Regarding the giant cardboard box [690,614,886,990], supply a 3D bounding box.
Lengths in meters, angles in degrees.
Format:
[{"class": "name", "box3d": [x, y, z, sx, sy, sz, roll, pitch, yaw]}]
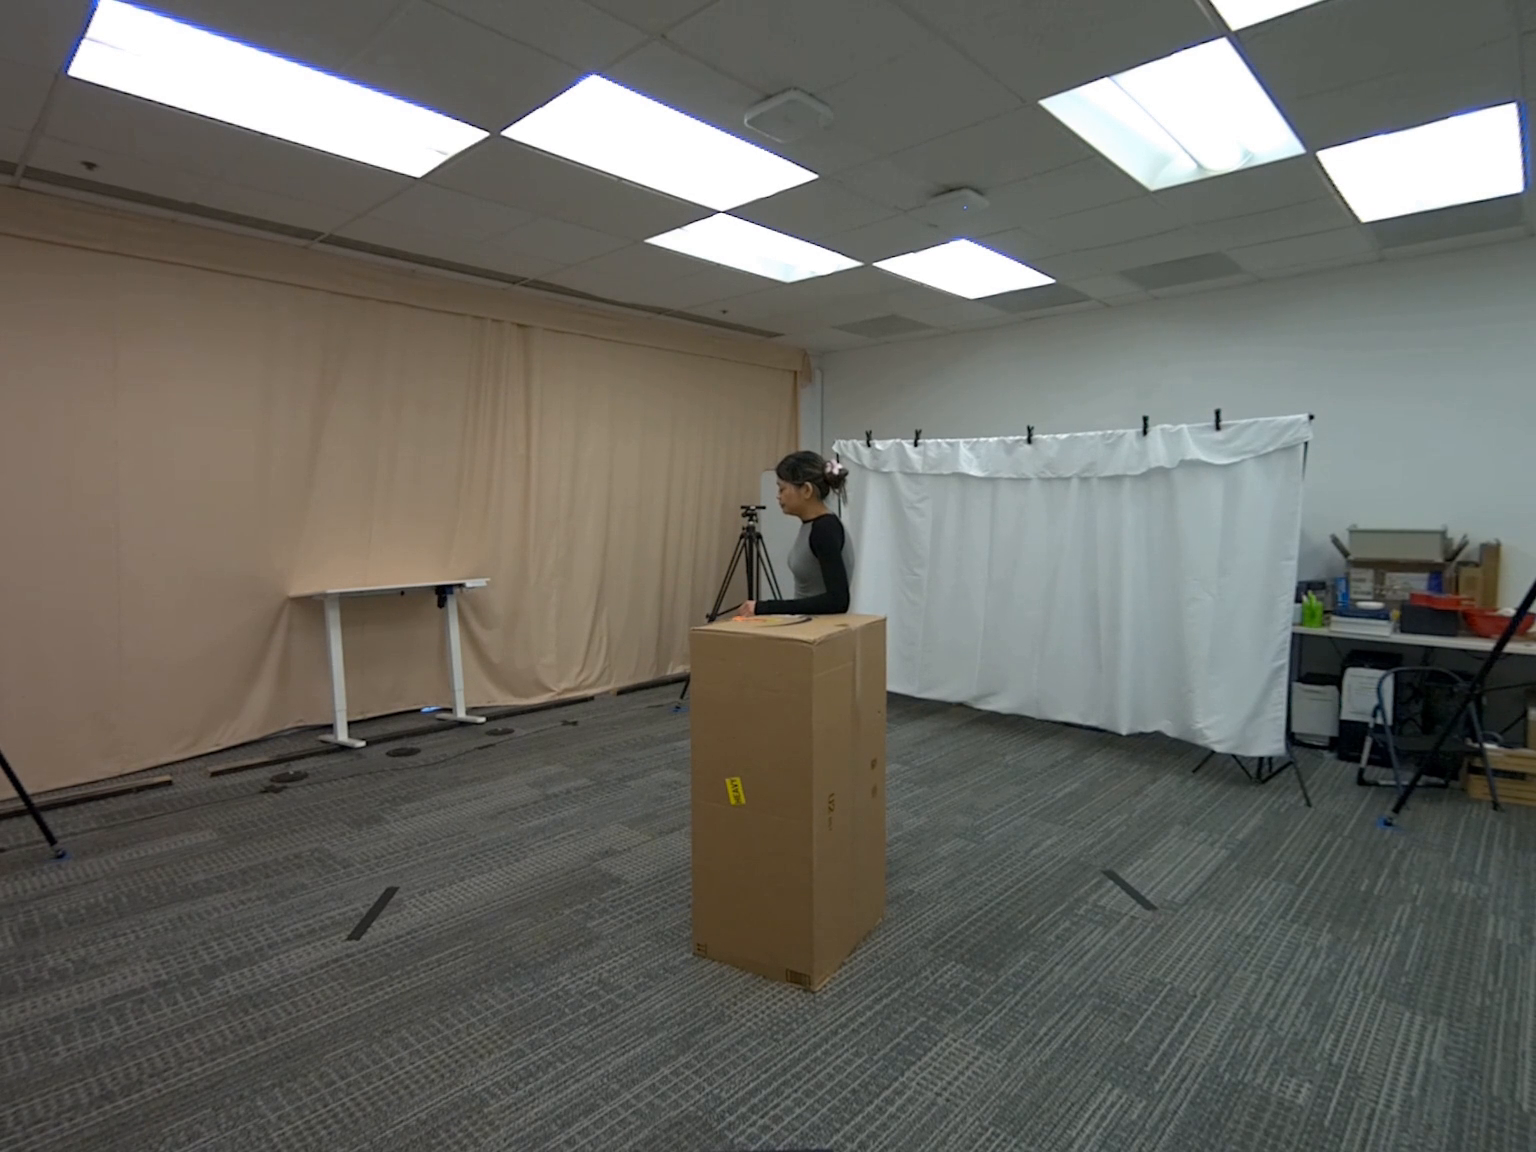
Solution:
[{"class": "giant cardboard box", "box3d": [0.082, 0.657, 2.723, 0.439, 1.024, 0.562, 2, 3, 31]}]
